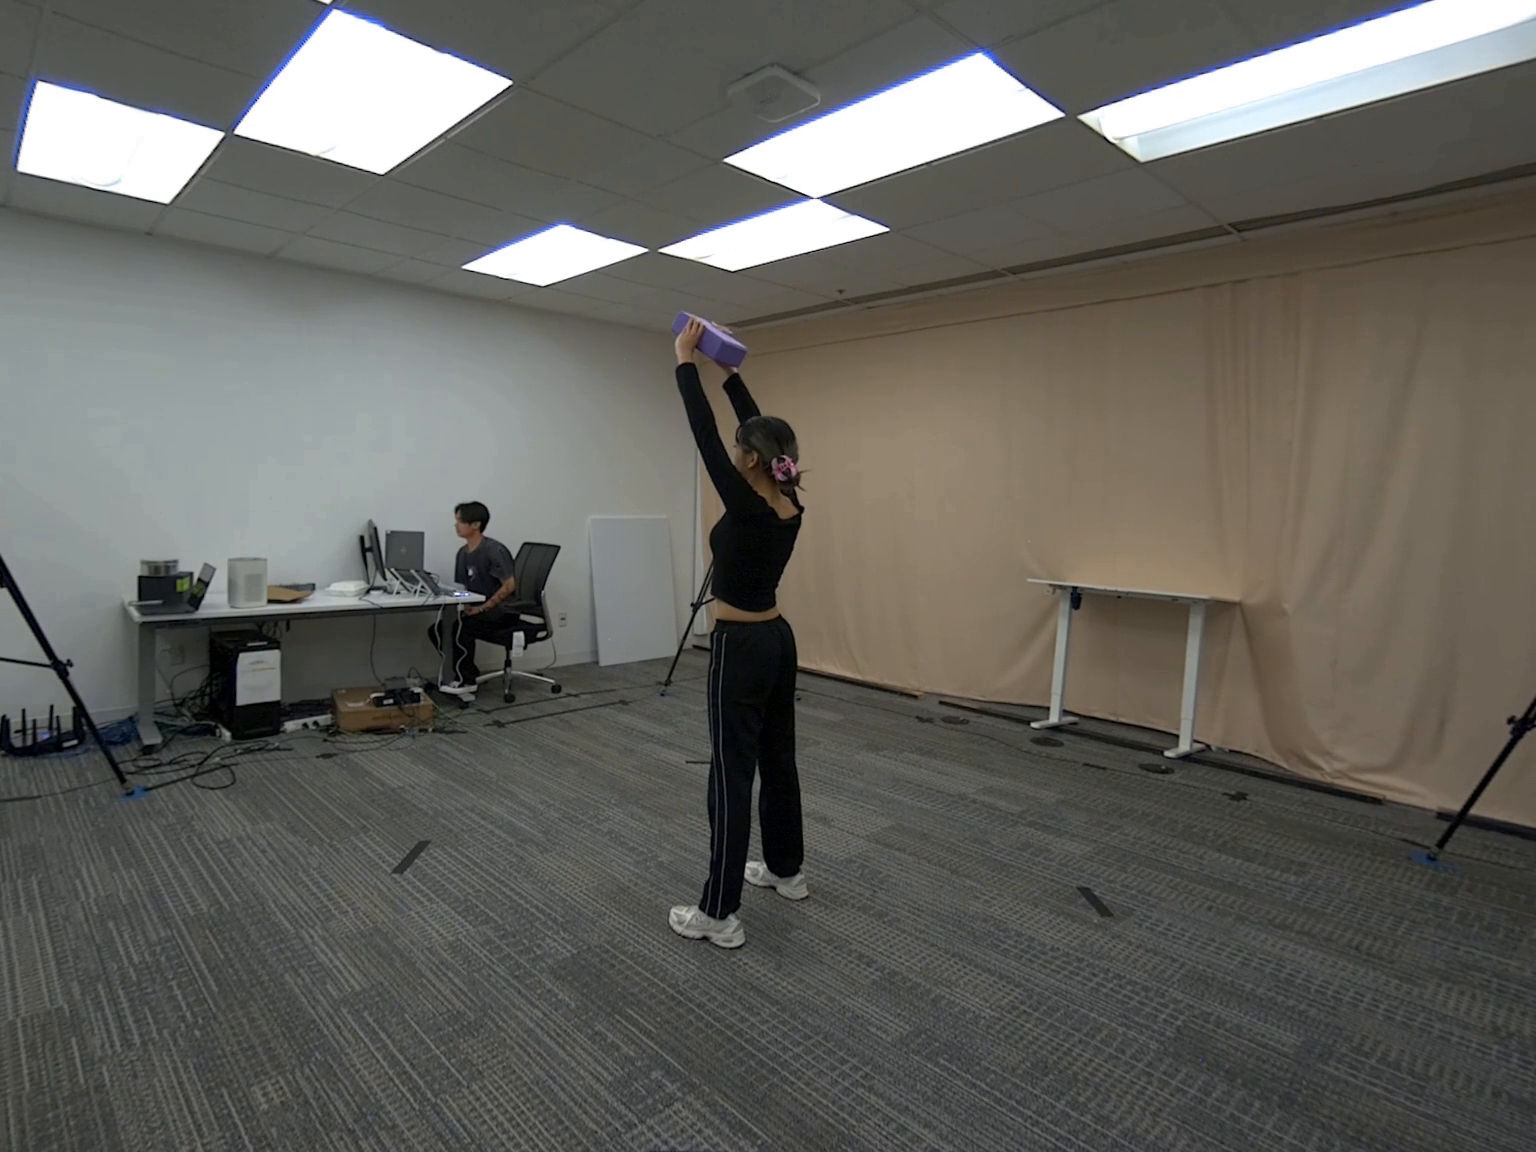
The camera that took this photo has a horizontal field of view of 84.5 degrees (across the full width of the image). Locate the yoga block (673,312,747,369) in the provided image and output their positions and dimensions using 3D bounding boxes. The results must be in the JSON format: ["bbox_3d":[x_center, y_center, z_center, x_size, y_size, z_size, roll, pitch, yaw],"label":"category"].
[{"bbox_3d":[-0.209,-0.789,2.821,0.235,0.076,0.146,39,20,26],"label":"yoga block"}]
